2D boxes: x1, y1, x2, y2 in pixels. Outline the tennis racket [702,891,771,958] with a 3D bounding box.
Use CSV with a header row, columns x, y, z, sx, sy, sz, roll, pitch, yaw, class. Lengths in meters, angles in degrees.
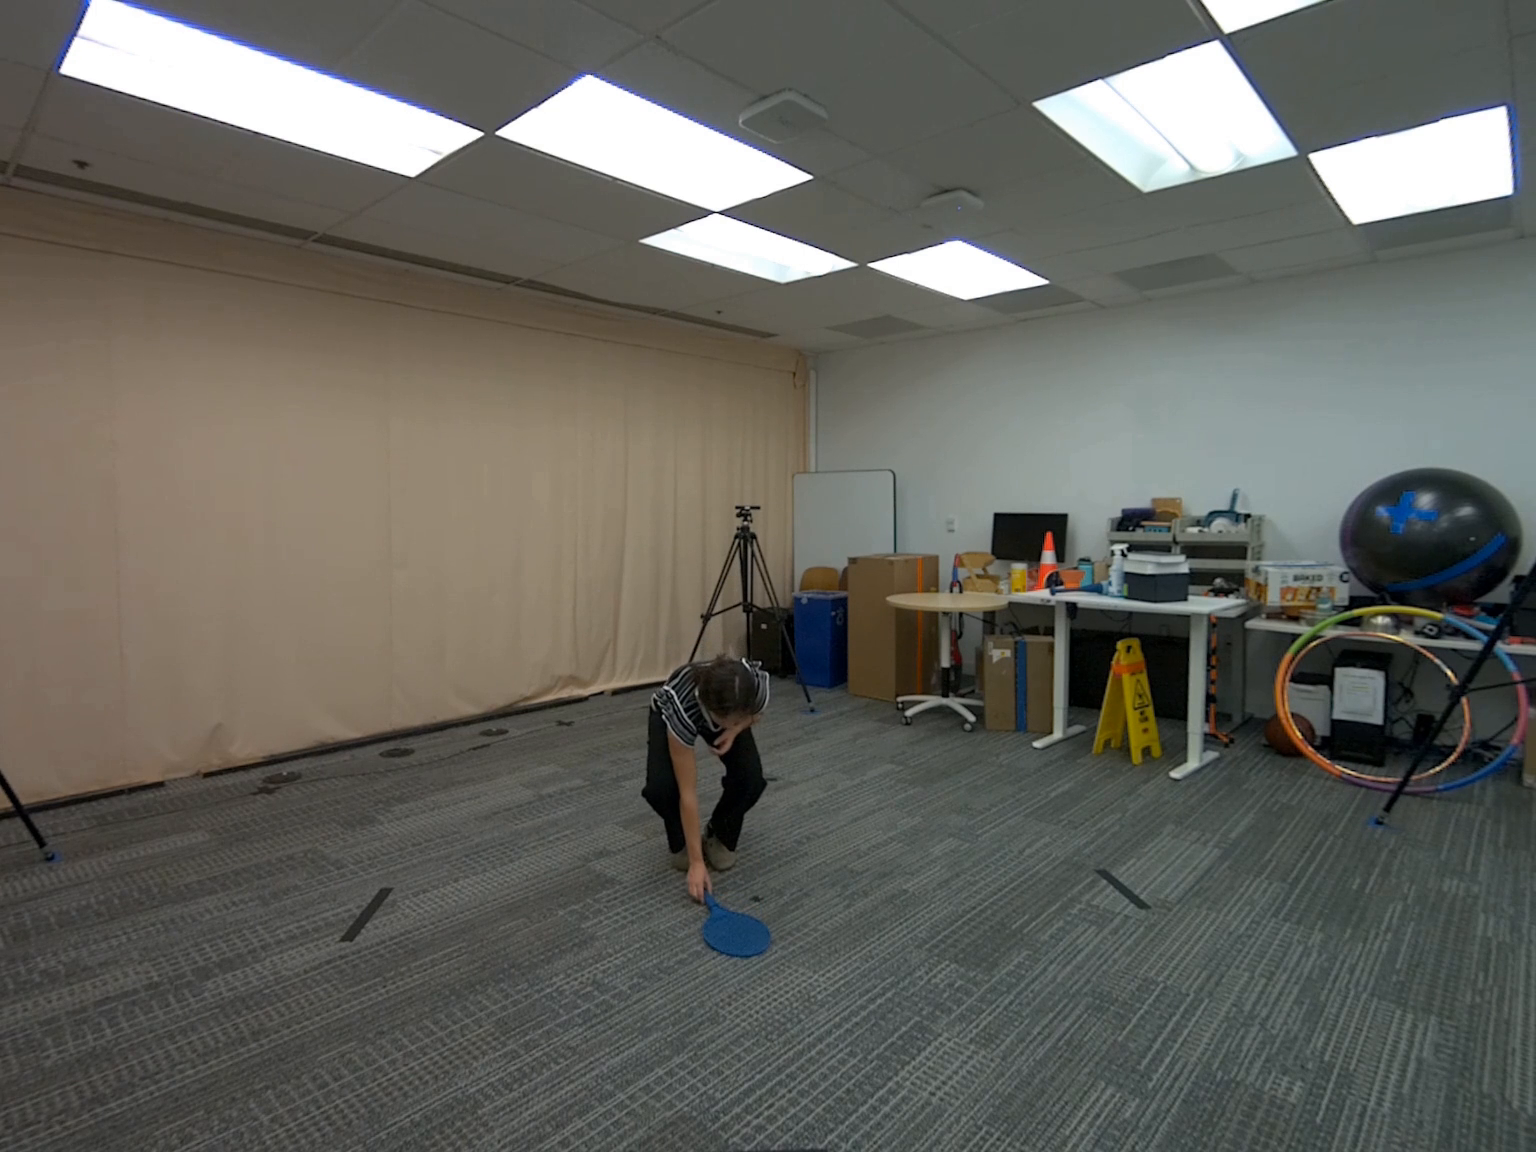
x,y,z,sx,sy,sz,roll,pitch,yaw,class
-0.135,1.142,2.801,0.209,0.032,0.444,0,5,-24,tennis racket
